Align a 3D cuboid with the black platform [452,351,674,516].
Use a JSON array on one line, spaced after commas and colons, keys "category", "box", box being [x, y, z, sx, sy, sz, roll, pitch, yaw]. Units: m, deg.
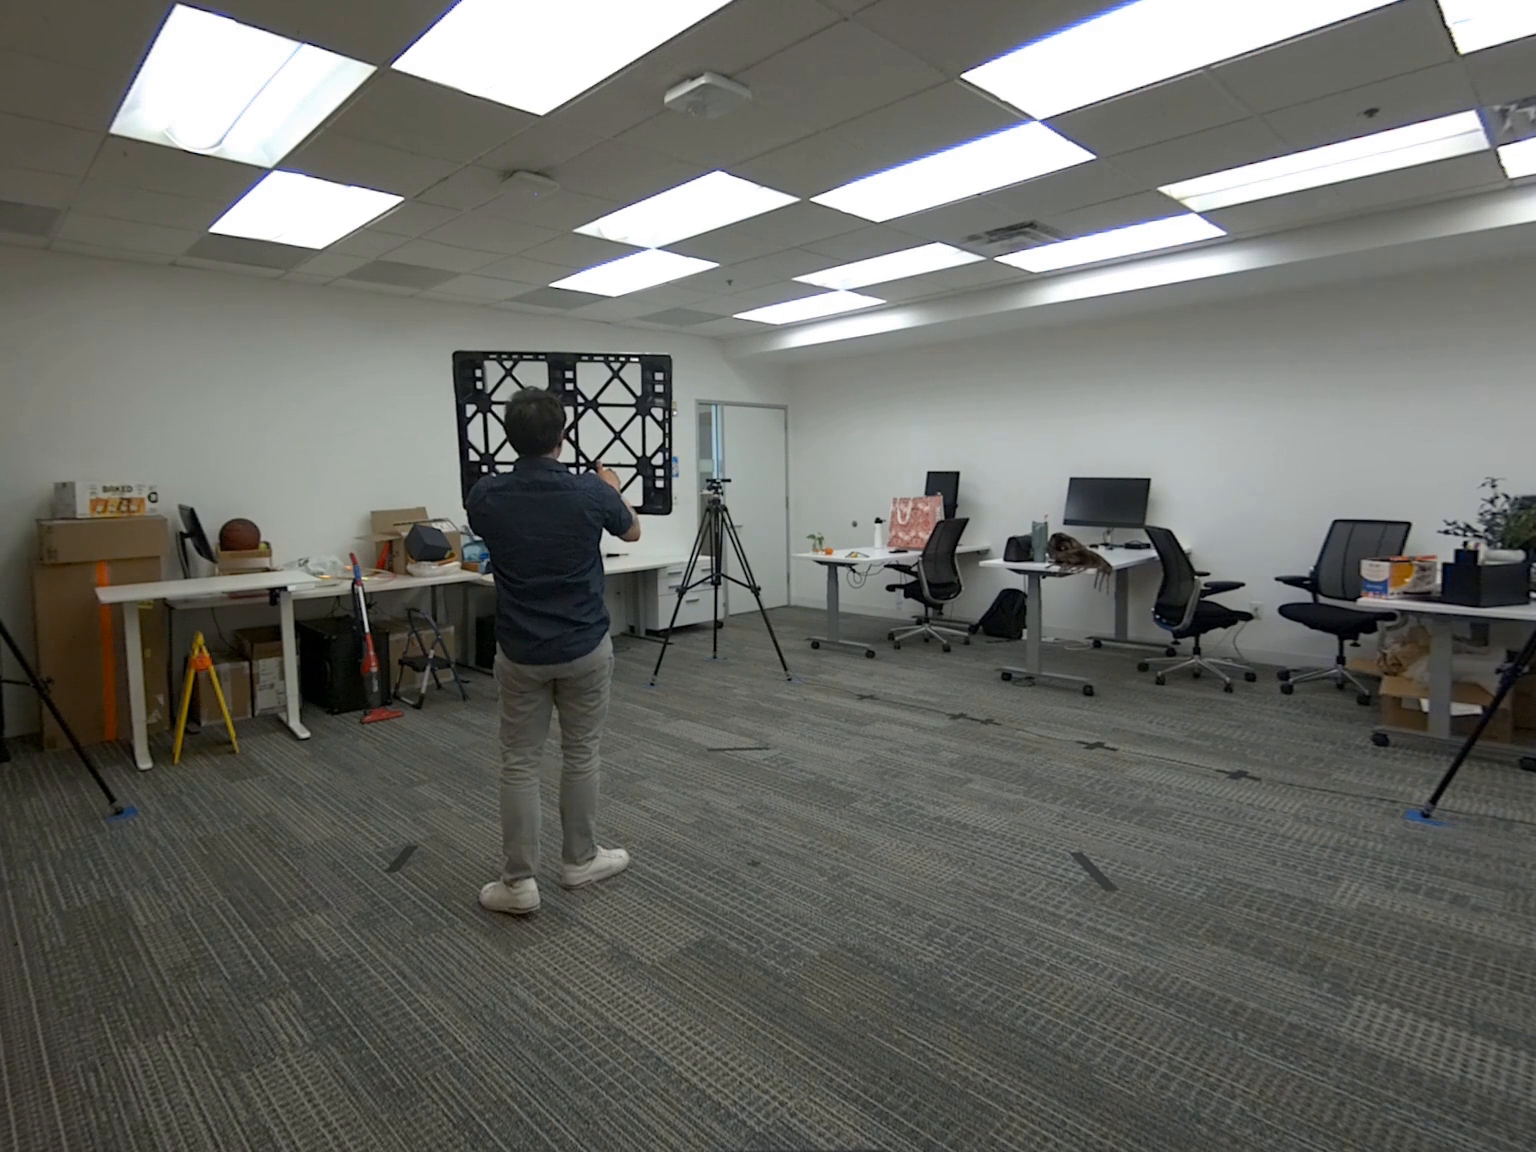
[{"category": "black platform", "box": [-0.759, -0.542, 3.211, 0.806, 0.597, 0.145, 2, 15, 1]}]
